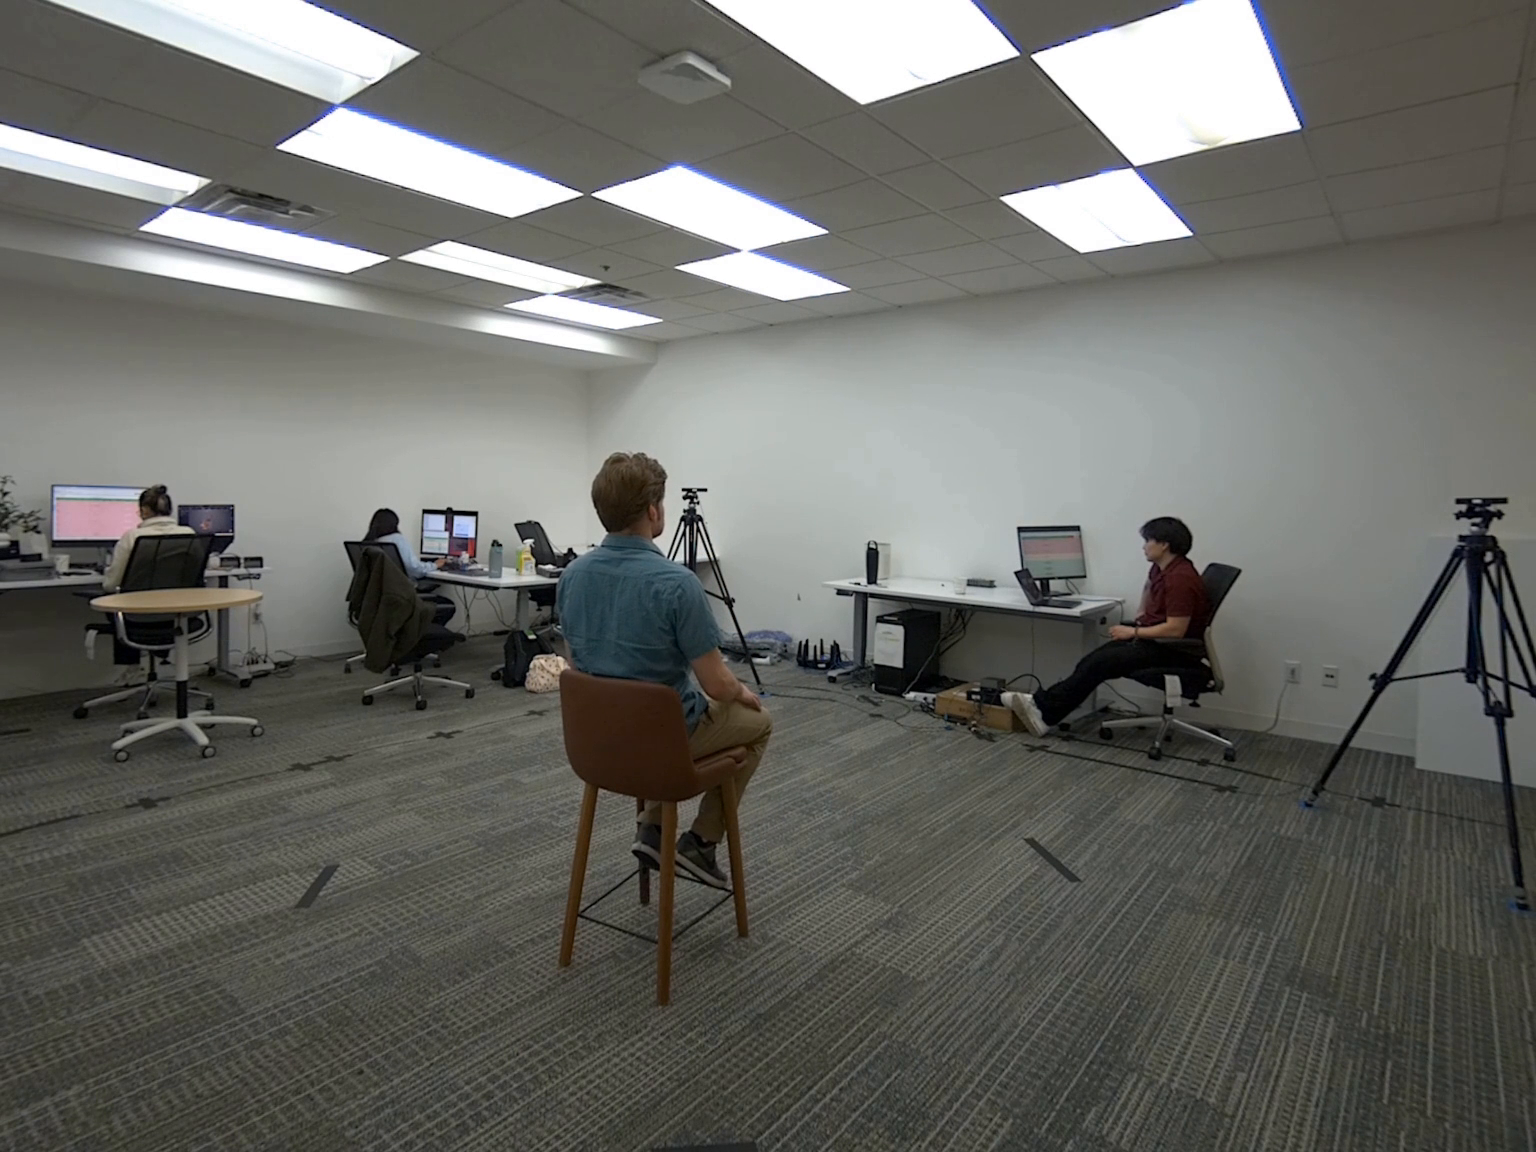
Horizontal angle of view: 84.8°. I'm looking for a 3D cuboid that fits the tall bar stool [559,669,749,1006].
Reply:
[{"bbox_3d":[-0.352,0.687,2.537,0.470,0.886,0.457,2,6,29],"label":"tall bar stool"}]
